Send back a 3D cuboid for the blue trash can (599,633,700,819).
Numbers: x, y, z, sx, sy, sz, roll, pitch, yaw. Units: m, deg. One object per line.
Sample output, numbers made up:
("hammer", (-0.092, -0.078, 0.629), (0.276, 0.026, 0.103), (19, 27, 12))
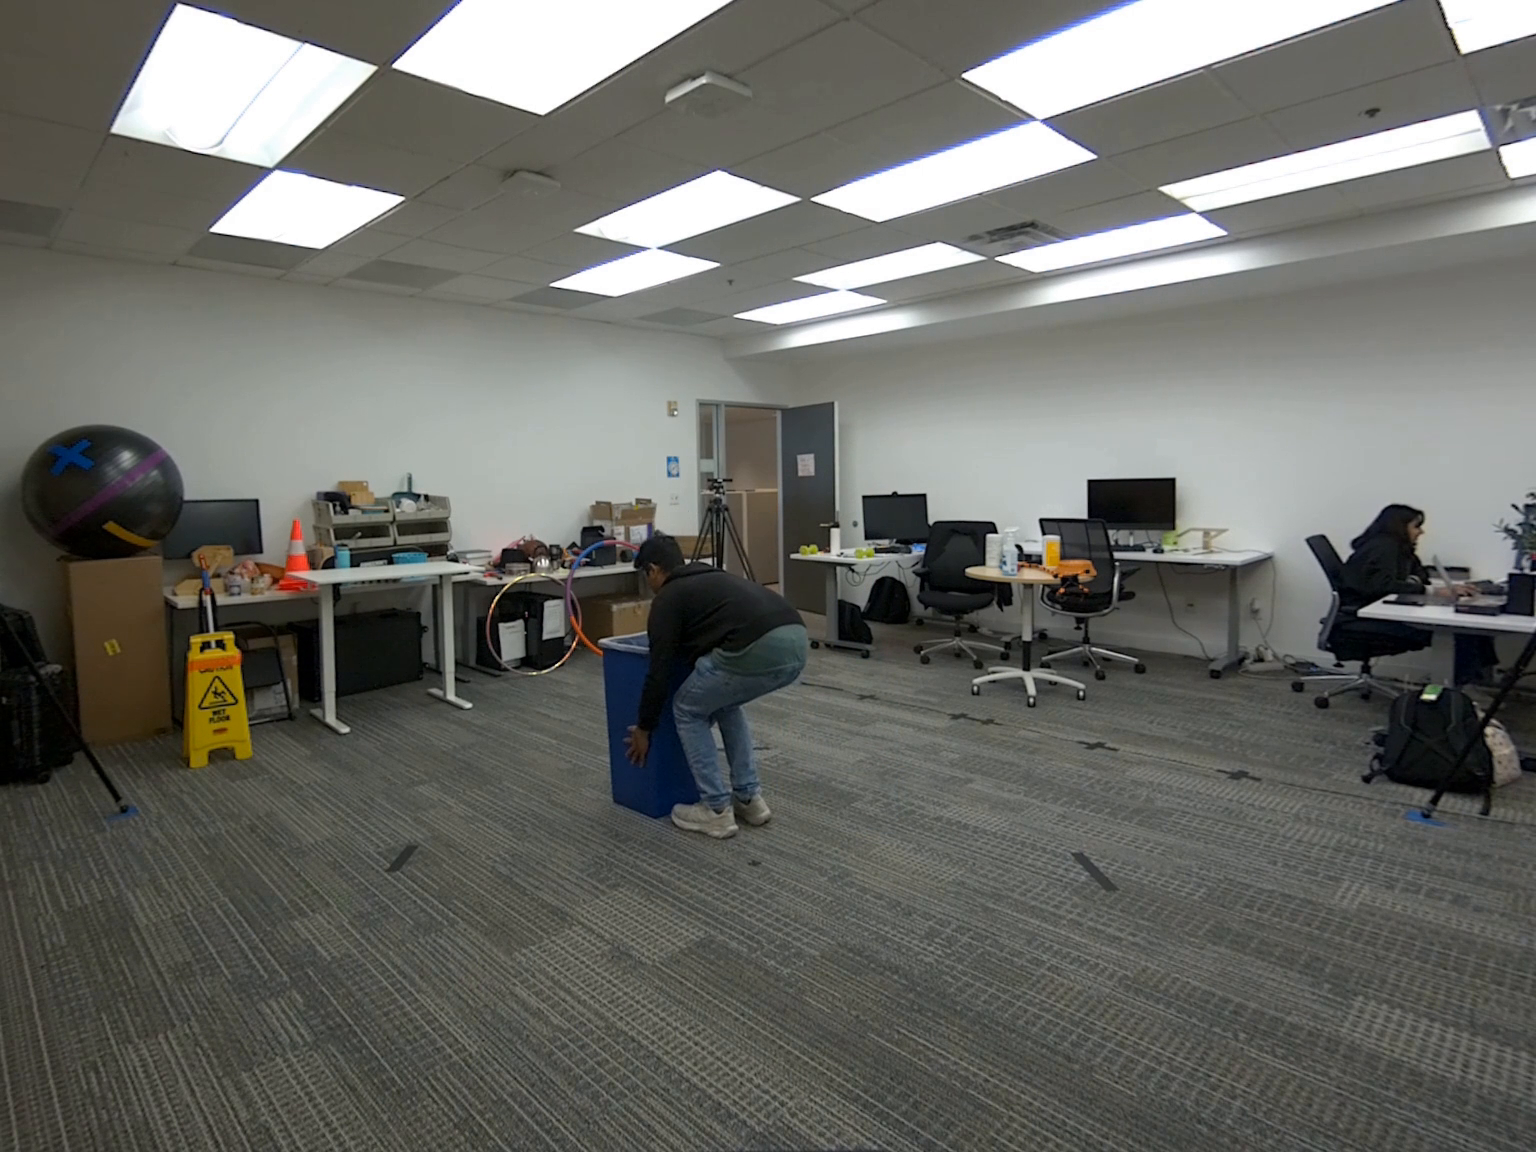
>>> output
("blue trash can", (-0.489, 0.627, 3.729), (0.385, 0.712, 0.368), (2, 4, 43))
